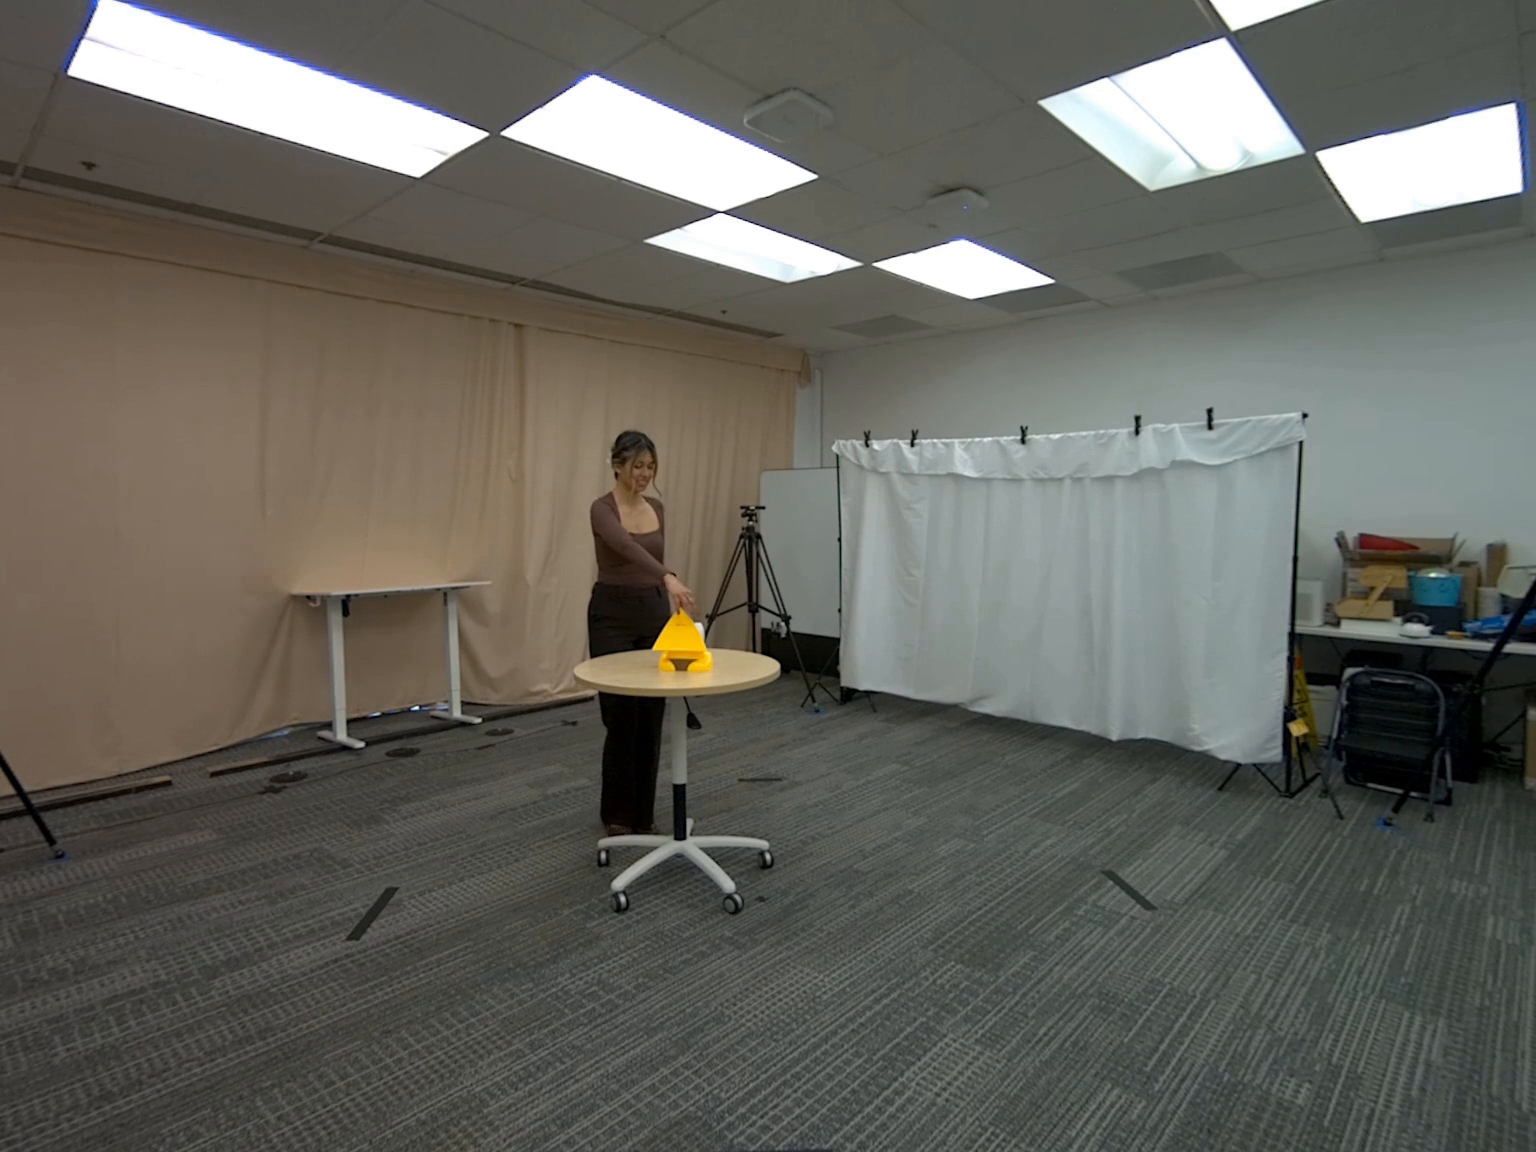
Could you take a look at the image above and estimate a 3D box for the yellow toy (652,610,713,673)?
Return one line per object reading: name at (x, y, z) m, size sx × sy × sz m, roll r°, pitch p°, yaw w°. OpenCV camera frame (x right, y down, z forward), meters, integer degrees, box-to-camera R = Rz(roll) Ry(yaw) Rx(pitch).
yellow toy at (-0.306, 0.223, 3.107) m, size 0.207 × 0.230 × 0.191 m, roll 0°, pitch 4°, yaw 10°
